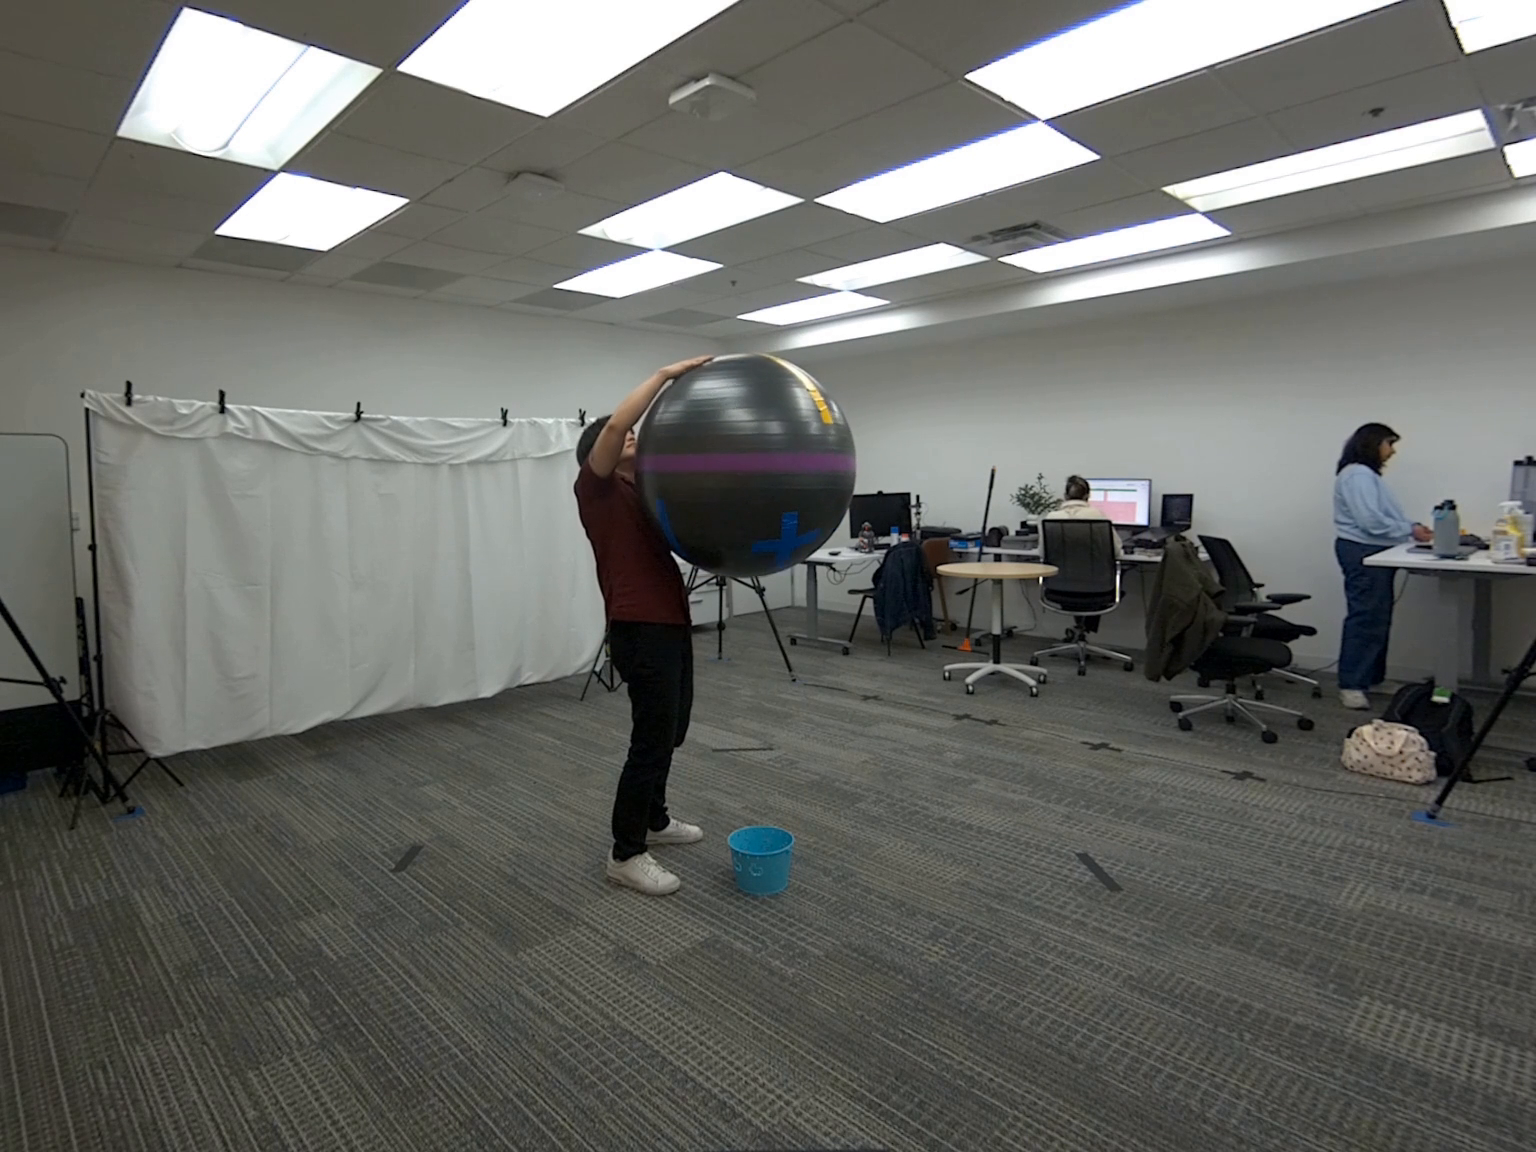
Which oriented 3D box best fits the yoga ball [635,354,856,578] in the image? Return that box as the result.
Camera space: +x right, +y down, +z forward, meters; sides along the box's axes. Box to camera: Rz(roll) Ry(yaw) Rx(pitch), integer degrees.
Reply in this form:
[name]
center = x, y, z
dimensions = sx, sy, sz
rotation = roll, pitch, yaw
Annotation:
[yoga ball]
center = -0.077, -0.377, 2.930
dimensions = 0.757, 0.755, 0.762
rotation = -1, 5, -2
